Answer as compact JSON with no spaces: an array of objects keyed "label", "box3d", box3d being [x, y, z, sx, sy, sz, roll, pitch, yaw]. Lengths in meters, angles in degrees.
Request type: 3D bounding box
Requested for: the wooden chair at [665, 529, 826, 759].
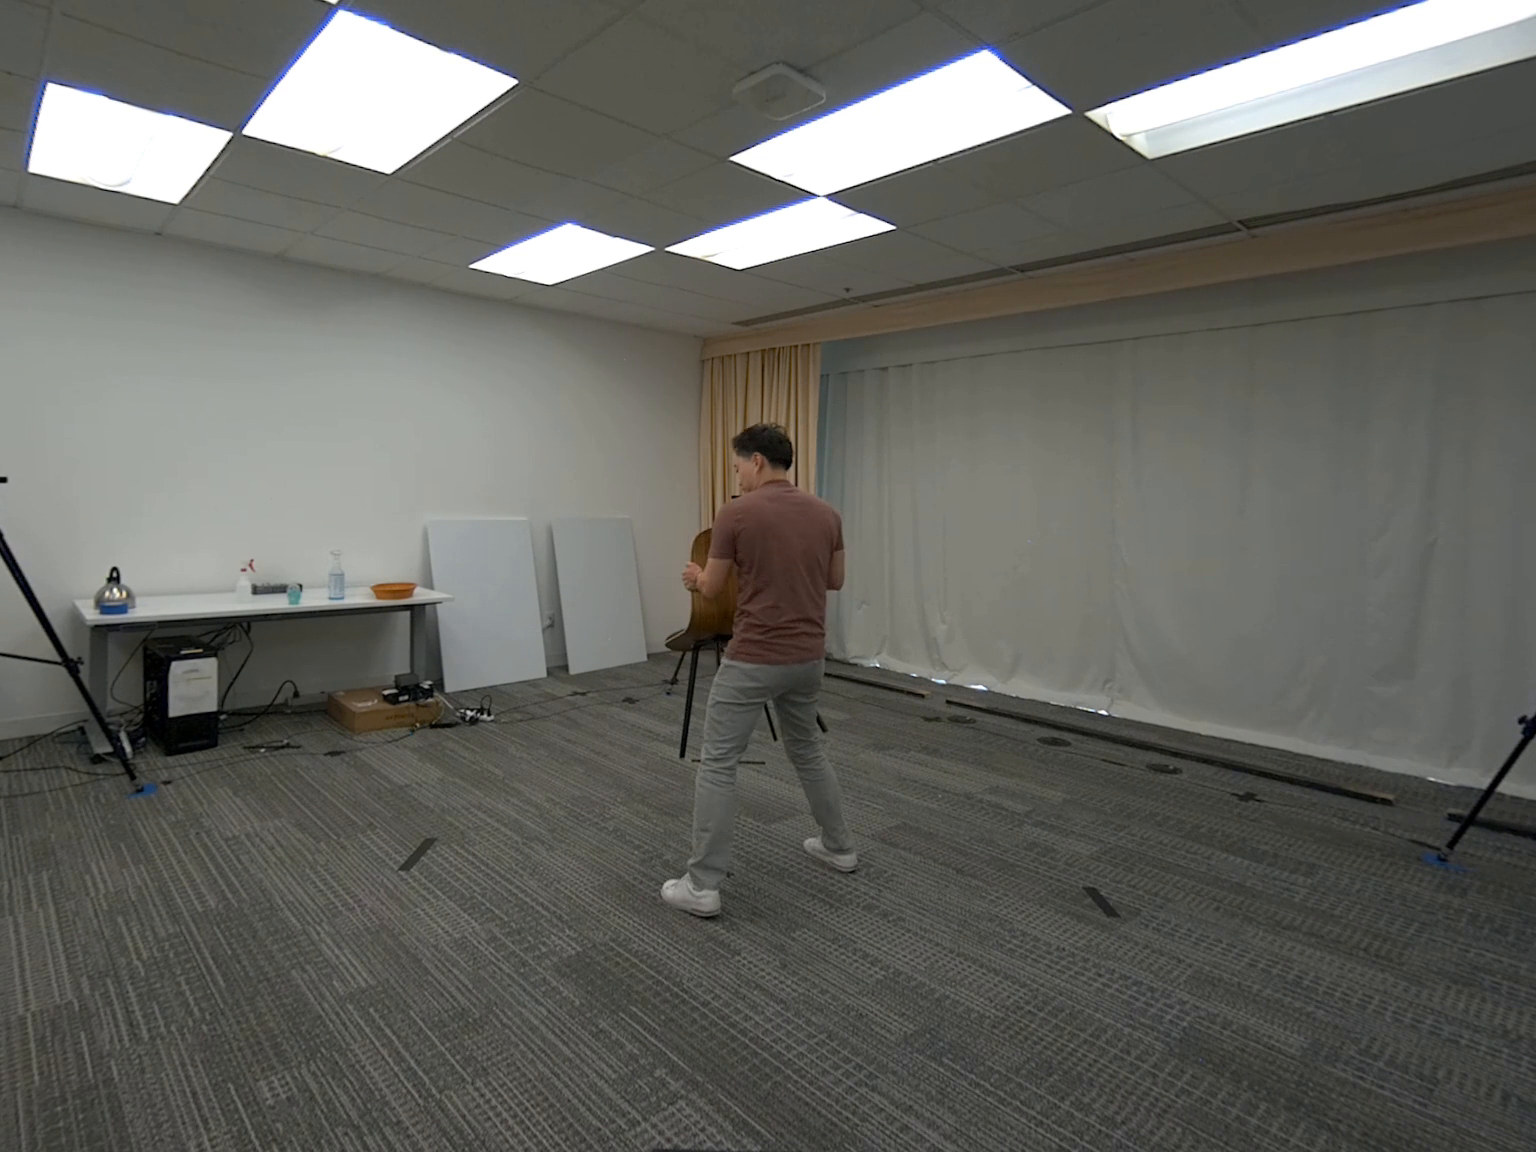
[{"label":"wooden chair","box3d":[-0.154,0.265,3.423,0.470,0.884,0.528,-5,-9,-27]}]
